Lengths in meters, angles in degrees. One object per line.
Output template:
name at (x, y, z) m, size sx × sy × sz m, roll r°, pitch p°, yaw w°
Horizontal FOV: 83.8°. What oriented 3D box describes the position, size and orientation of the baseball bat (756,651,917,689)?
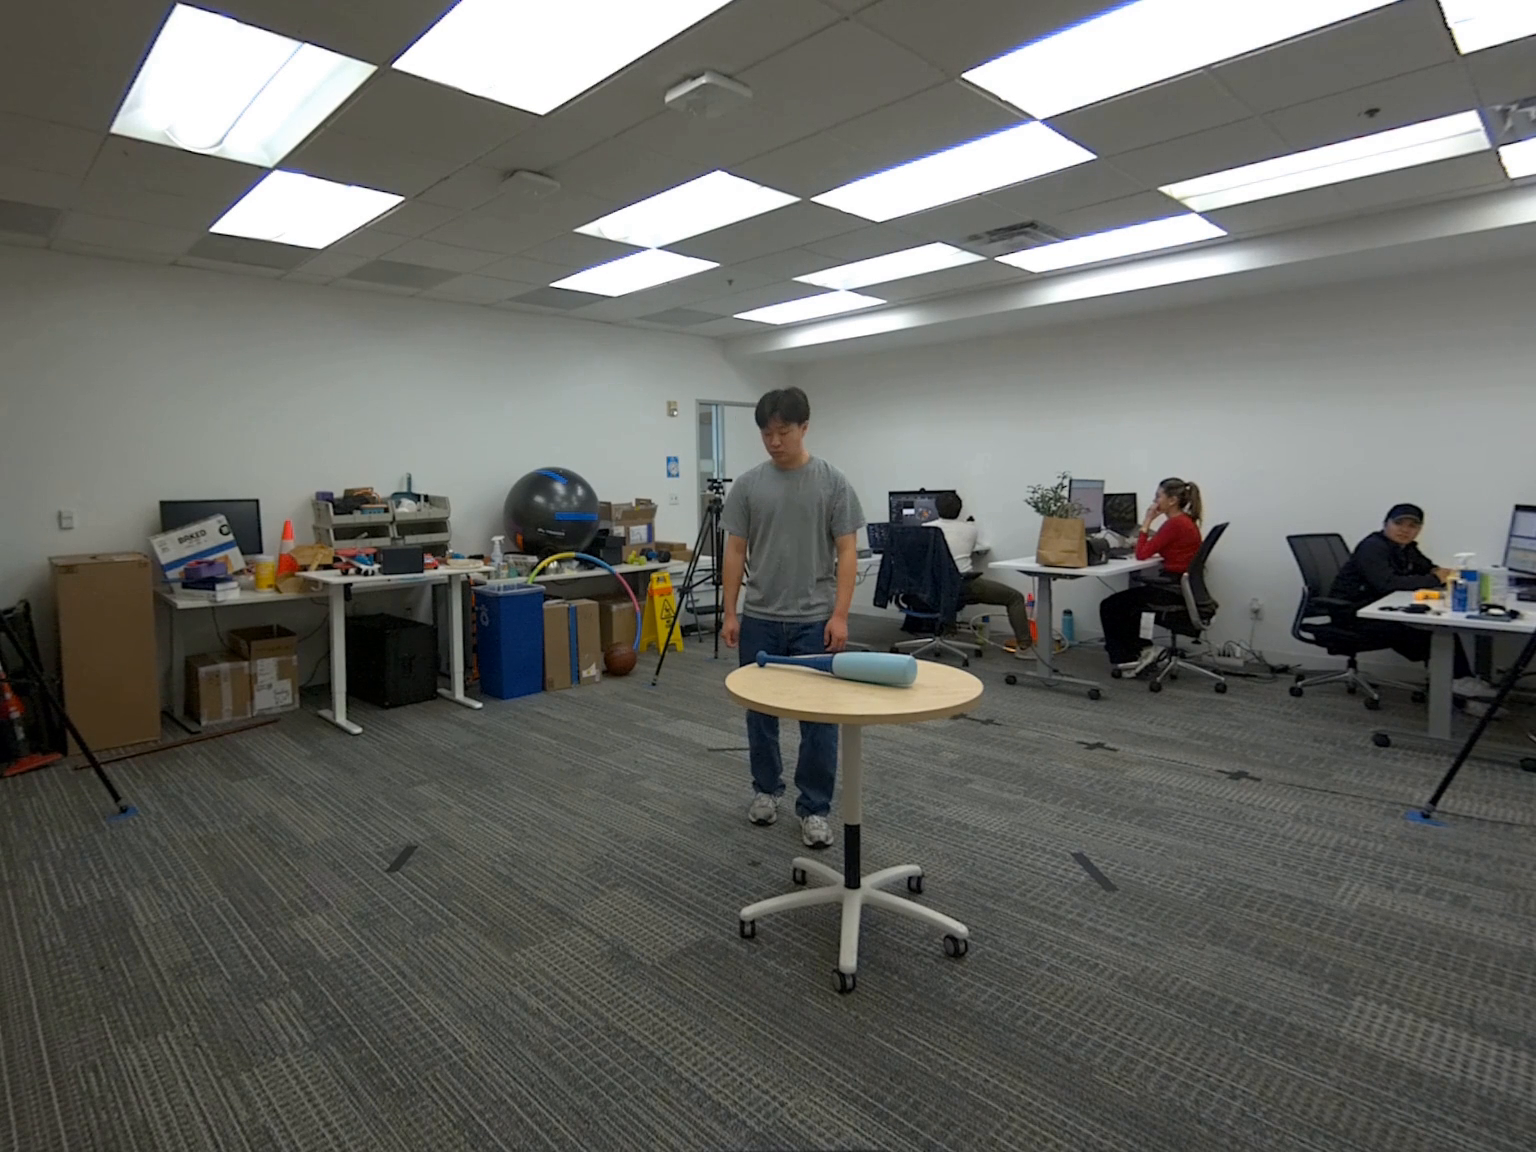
baseball bat at (0.197, 0.280, 2.636) m, size 0.558 × 0.089 × 0.087 m, roll 0°, pitch 4°, yaw 35°
